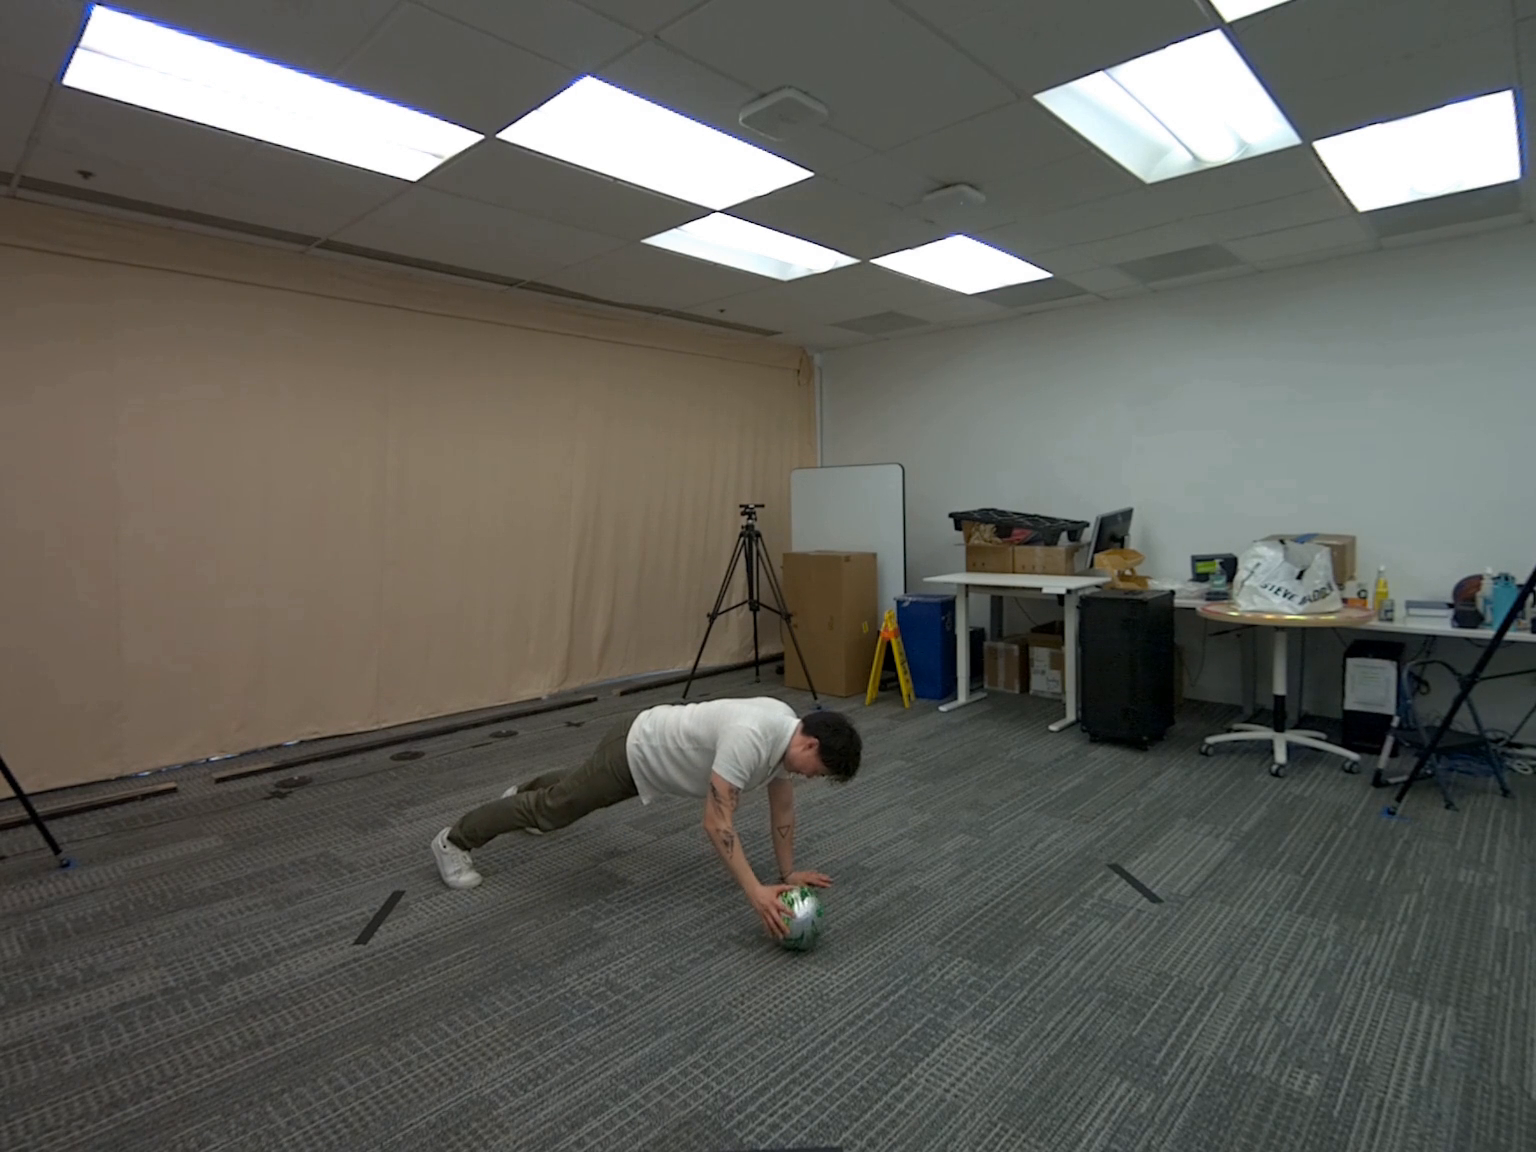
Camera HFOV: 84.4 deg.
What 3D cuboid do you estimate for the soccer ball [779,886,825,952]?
[{"bbox_3d":[0.092,1.072,2.667,0.187,0.187,0.188,-1,4,-2],"label":"soccer ball"}]
